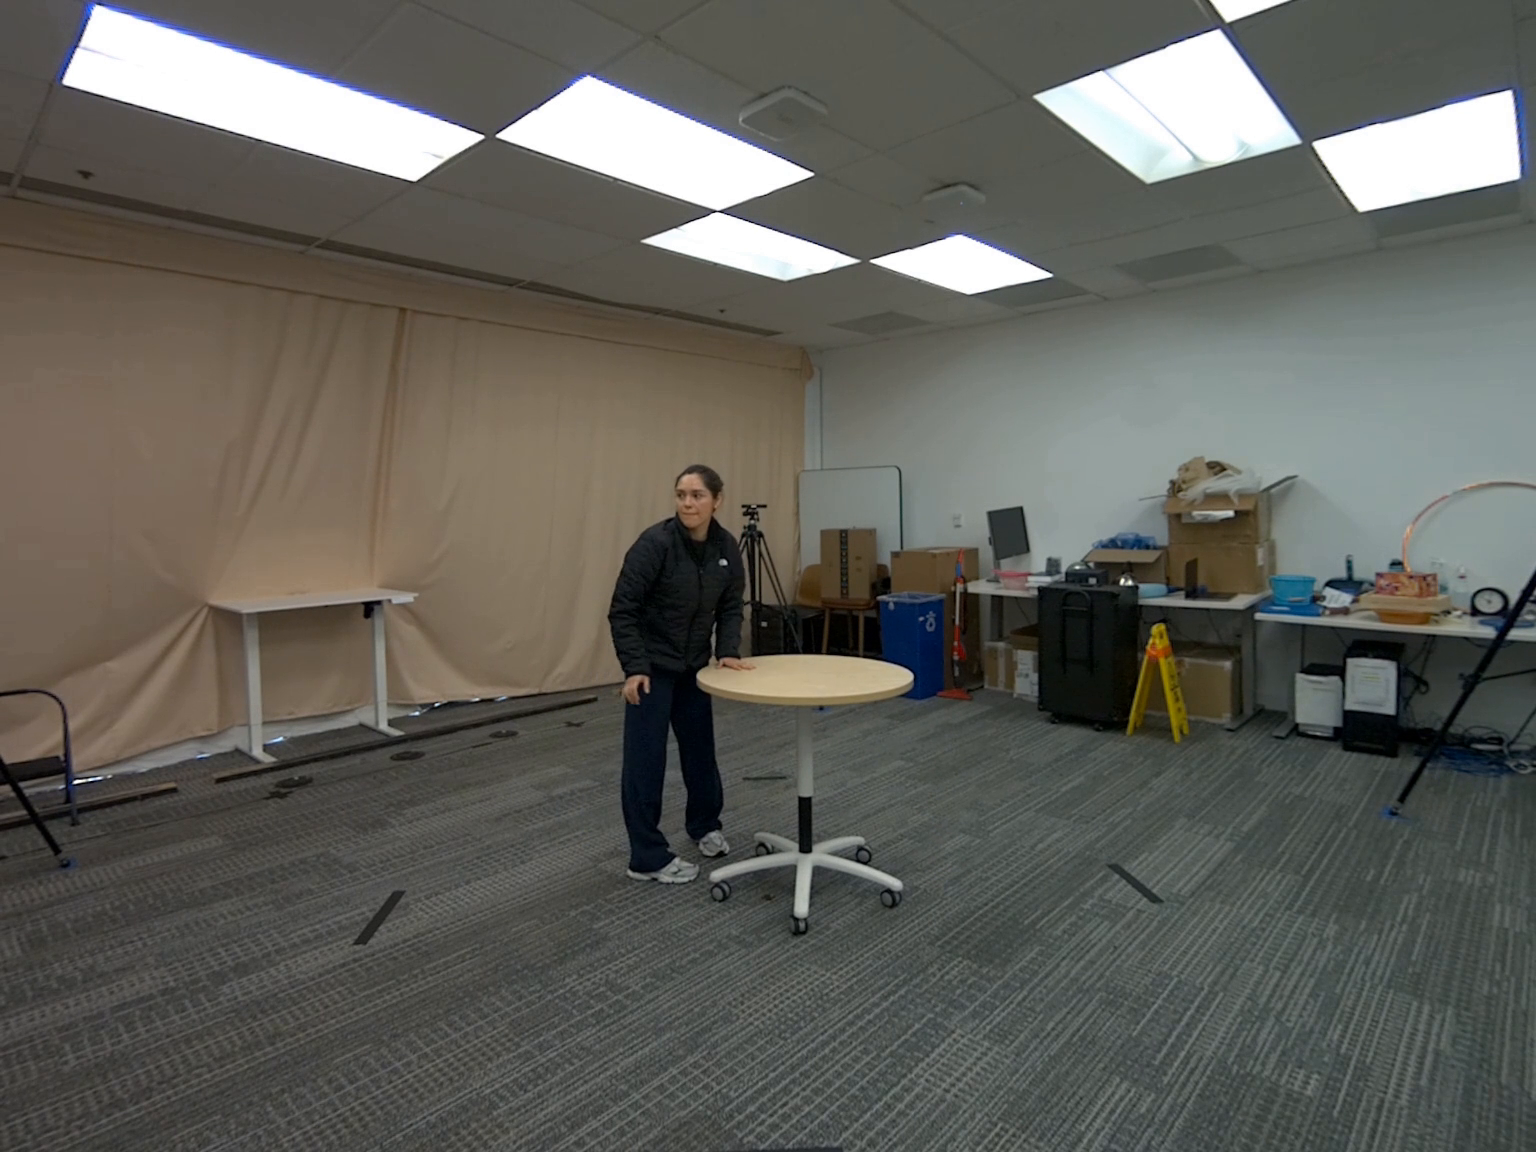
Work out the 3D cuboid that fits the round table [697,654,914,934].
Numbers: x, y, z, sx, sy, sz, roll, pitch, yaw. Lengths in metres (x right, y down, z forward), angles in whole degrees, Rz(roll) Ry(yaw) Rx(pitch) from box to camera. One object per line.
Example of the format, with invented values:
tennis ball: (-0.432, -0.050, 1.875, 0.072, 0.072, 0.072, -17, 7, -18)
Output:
round table: (0.137, 0.737, 3.025, 0.784, 0.785, 0.788, 0, 4, -2)
